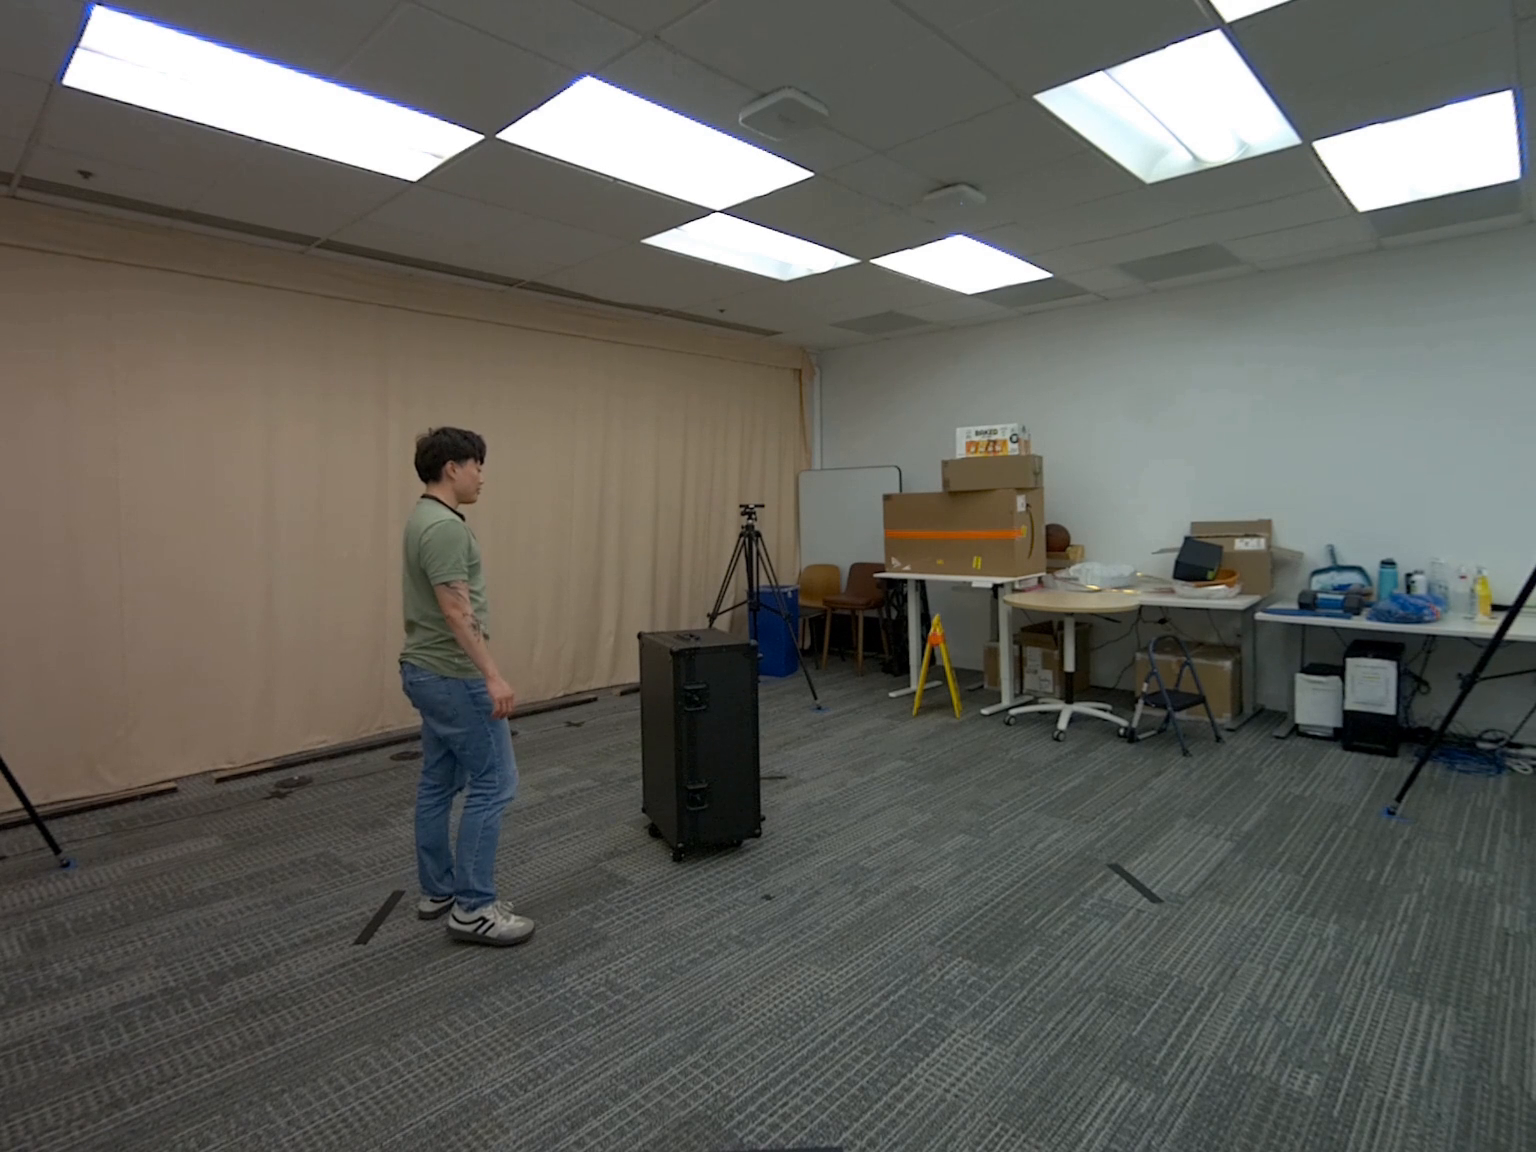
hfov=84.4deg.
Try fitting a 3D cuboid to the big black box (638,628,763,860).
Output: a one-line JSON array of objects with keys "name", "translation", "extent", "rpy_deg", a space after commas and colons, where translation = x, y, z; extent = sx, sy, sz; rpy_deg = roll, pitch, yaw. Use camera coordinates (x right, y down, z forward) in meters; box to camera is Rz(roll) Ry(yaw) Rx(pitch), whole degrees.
[{"name": "big black box", "translation": [-0.290, 0.672, 3.498], "extent": [0.387, 0.860, 0.533], "rpy_deg": [-2, 2, -23]}]
